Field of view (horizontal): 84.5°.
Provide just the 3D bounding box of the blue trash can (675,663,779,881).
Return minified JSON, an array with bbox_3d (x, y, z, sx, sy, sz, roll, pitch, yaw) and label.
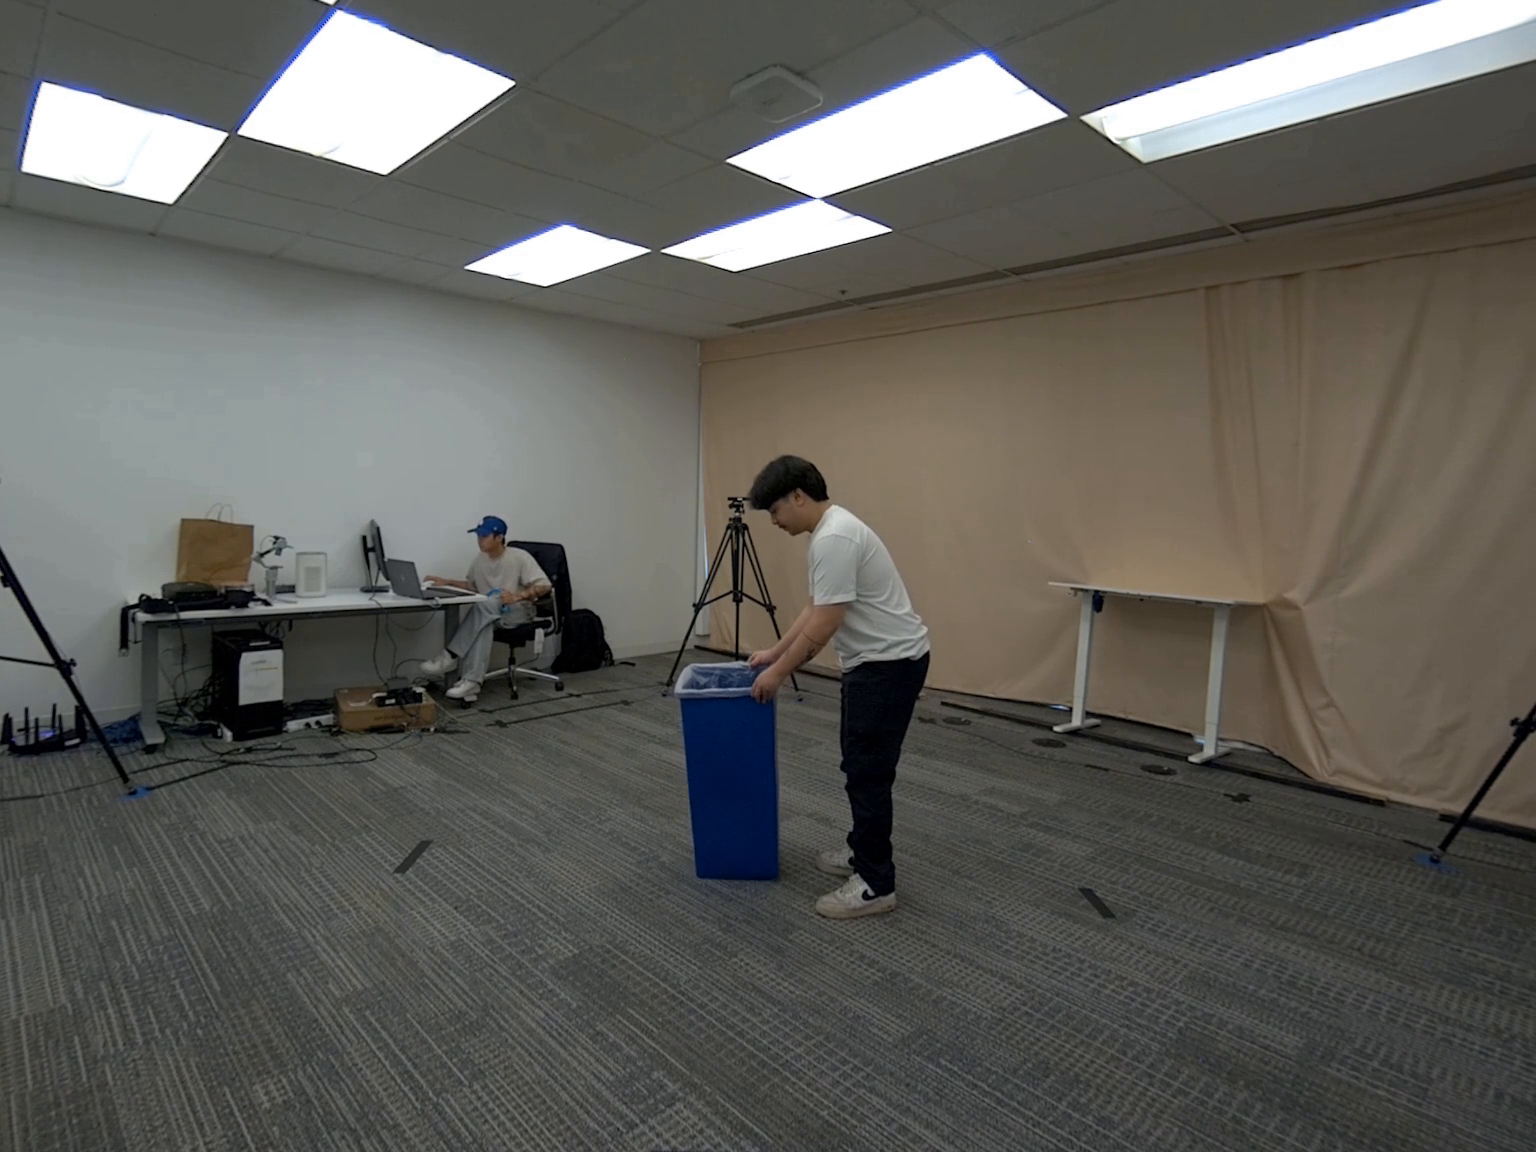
[{"bbox_3d":[-0.133,0.730,3.180,0.375,0.710,0.379,-1,6,3],"label":"blue trash can"}]
